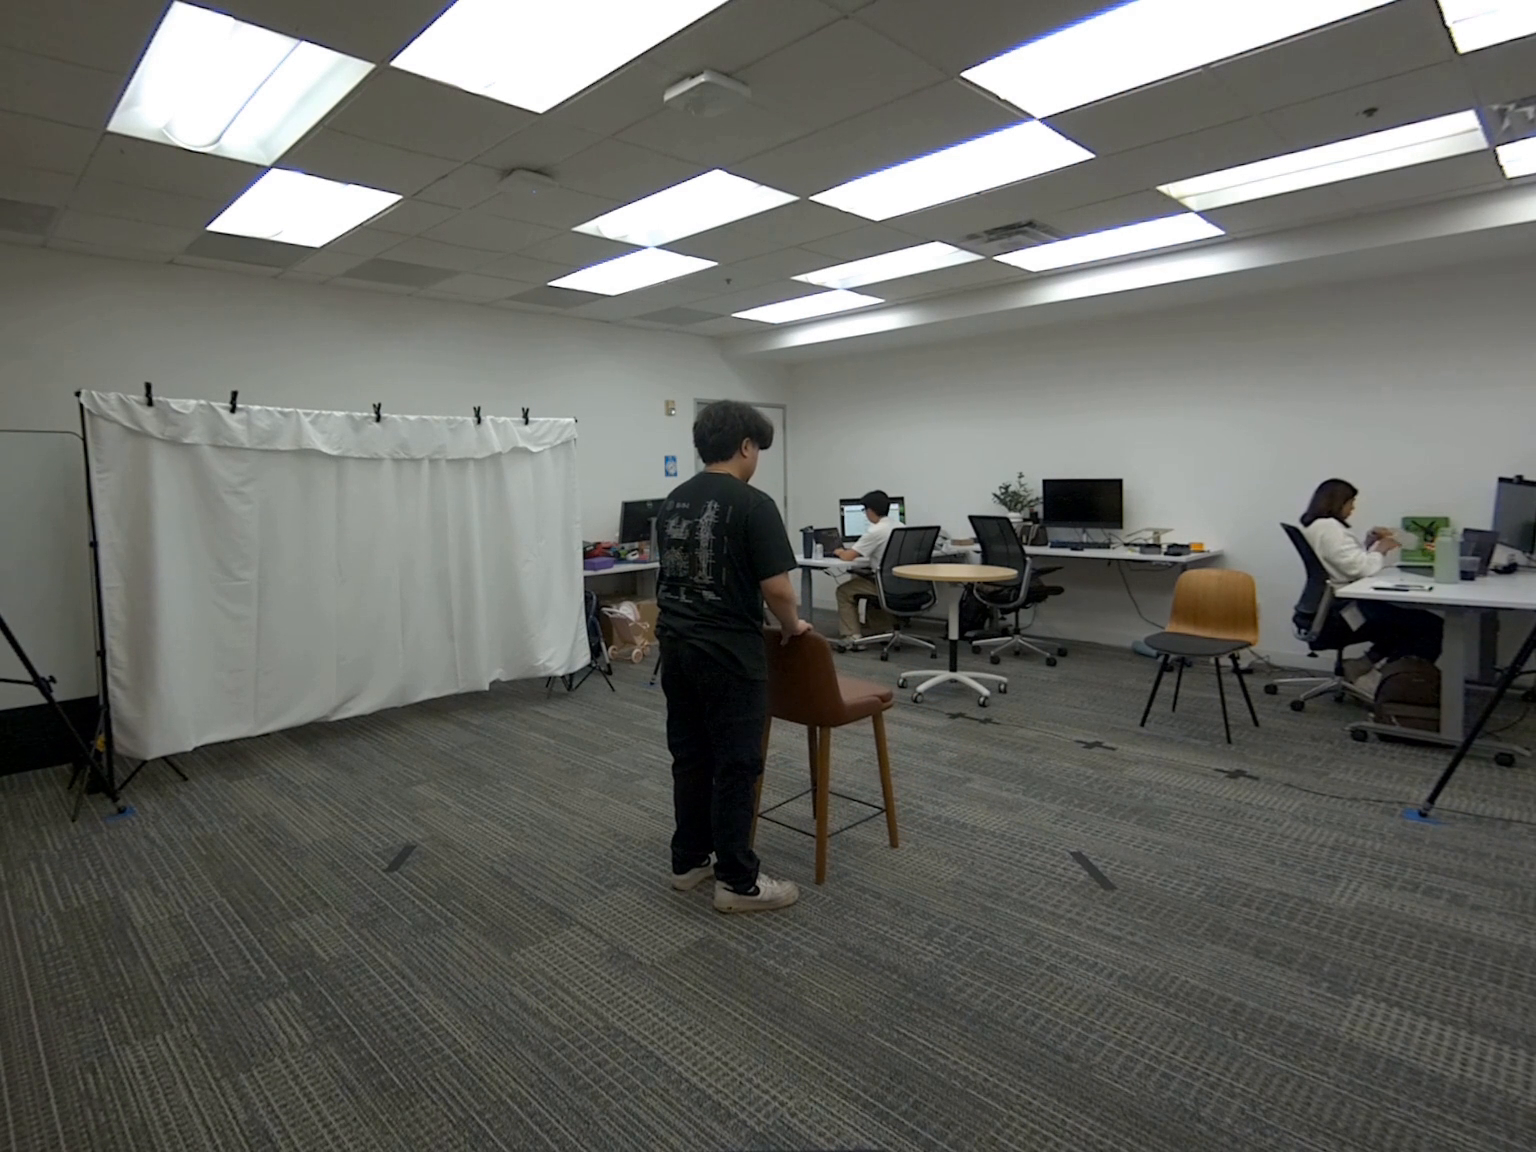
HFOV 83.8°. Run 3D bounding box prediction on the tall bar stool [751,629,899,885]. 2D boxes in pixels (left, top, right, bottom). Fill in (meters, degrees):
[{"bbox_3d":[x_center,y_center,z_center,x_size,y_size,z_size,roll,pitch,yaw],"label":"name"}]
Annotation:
[{"bbox_3d":[0.186,0.591,3.179,0.471,0.885,0.456,4,8,45],"label":"tall bar stool"}]
